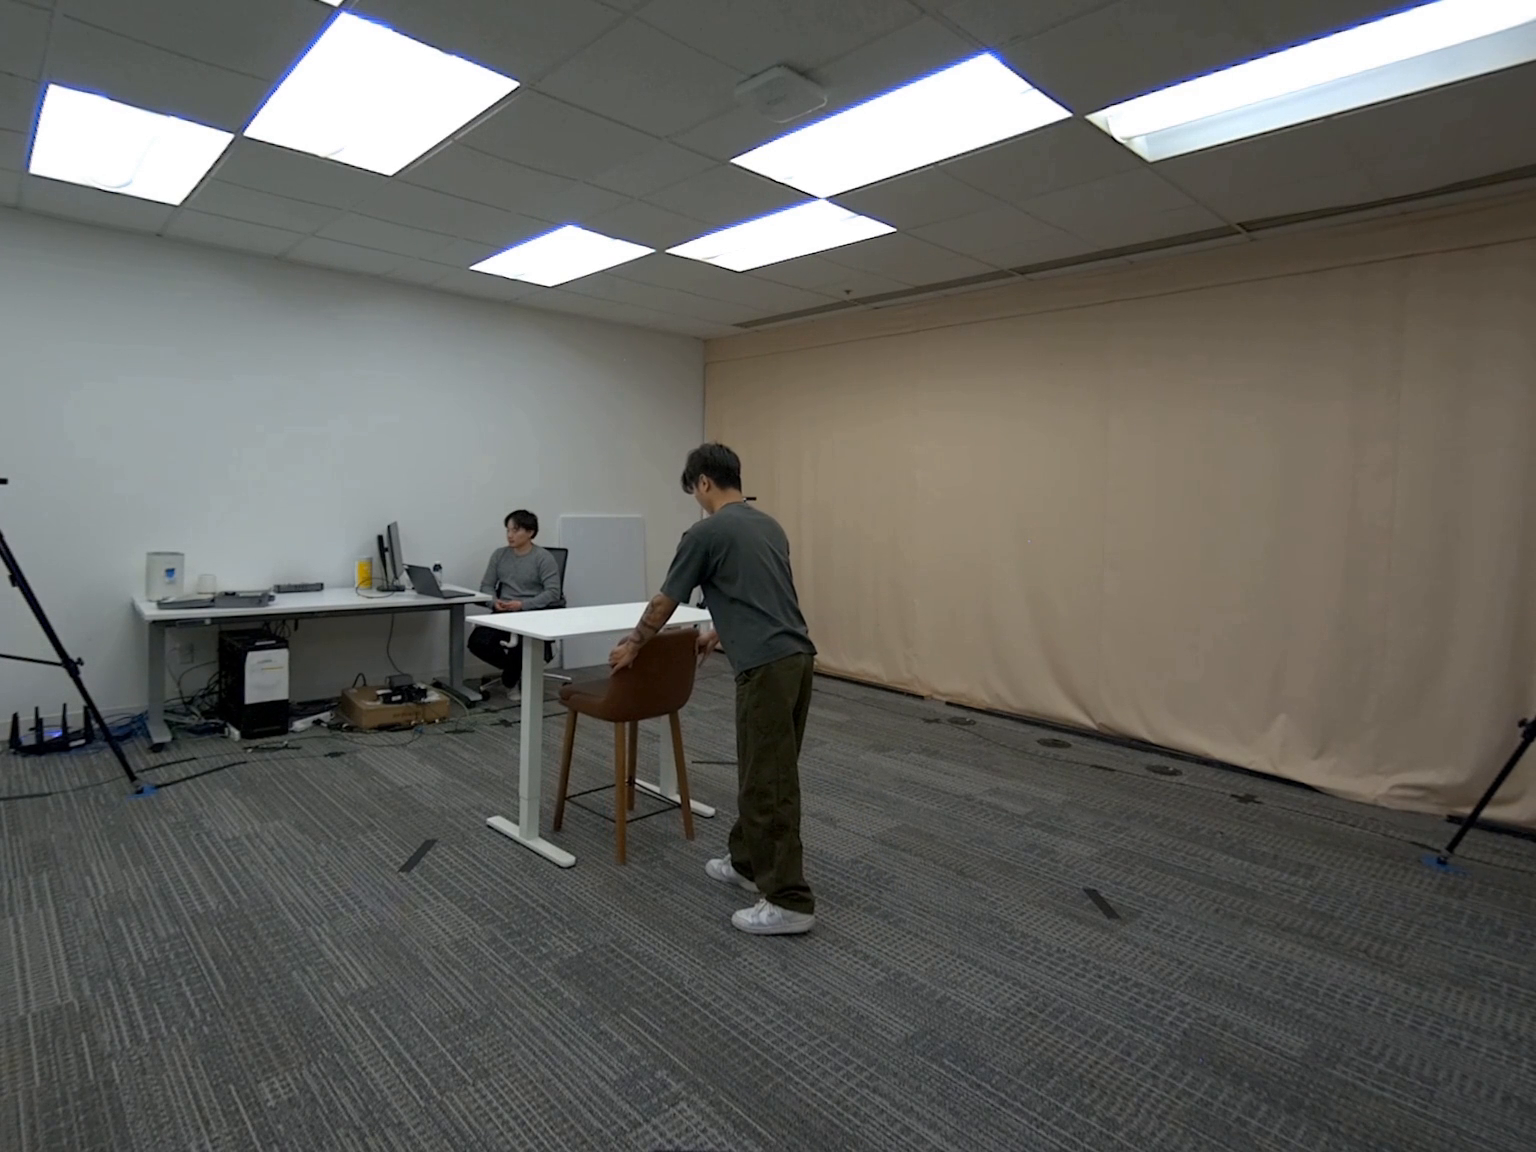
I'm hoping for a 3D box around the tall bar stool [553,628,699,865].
[{"bbox_3d":[-0.574,0.631,3.429,0.480,0.886,0.446,9,7,44],"label":"tall bar stool"}]
